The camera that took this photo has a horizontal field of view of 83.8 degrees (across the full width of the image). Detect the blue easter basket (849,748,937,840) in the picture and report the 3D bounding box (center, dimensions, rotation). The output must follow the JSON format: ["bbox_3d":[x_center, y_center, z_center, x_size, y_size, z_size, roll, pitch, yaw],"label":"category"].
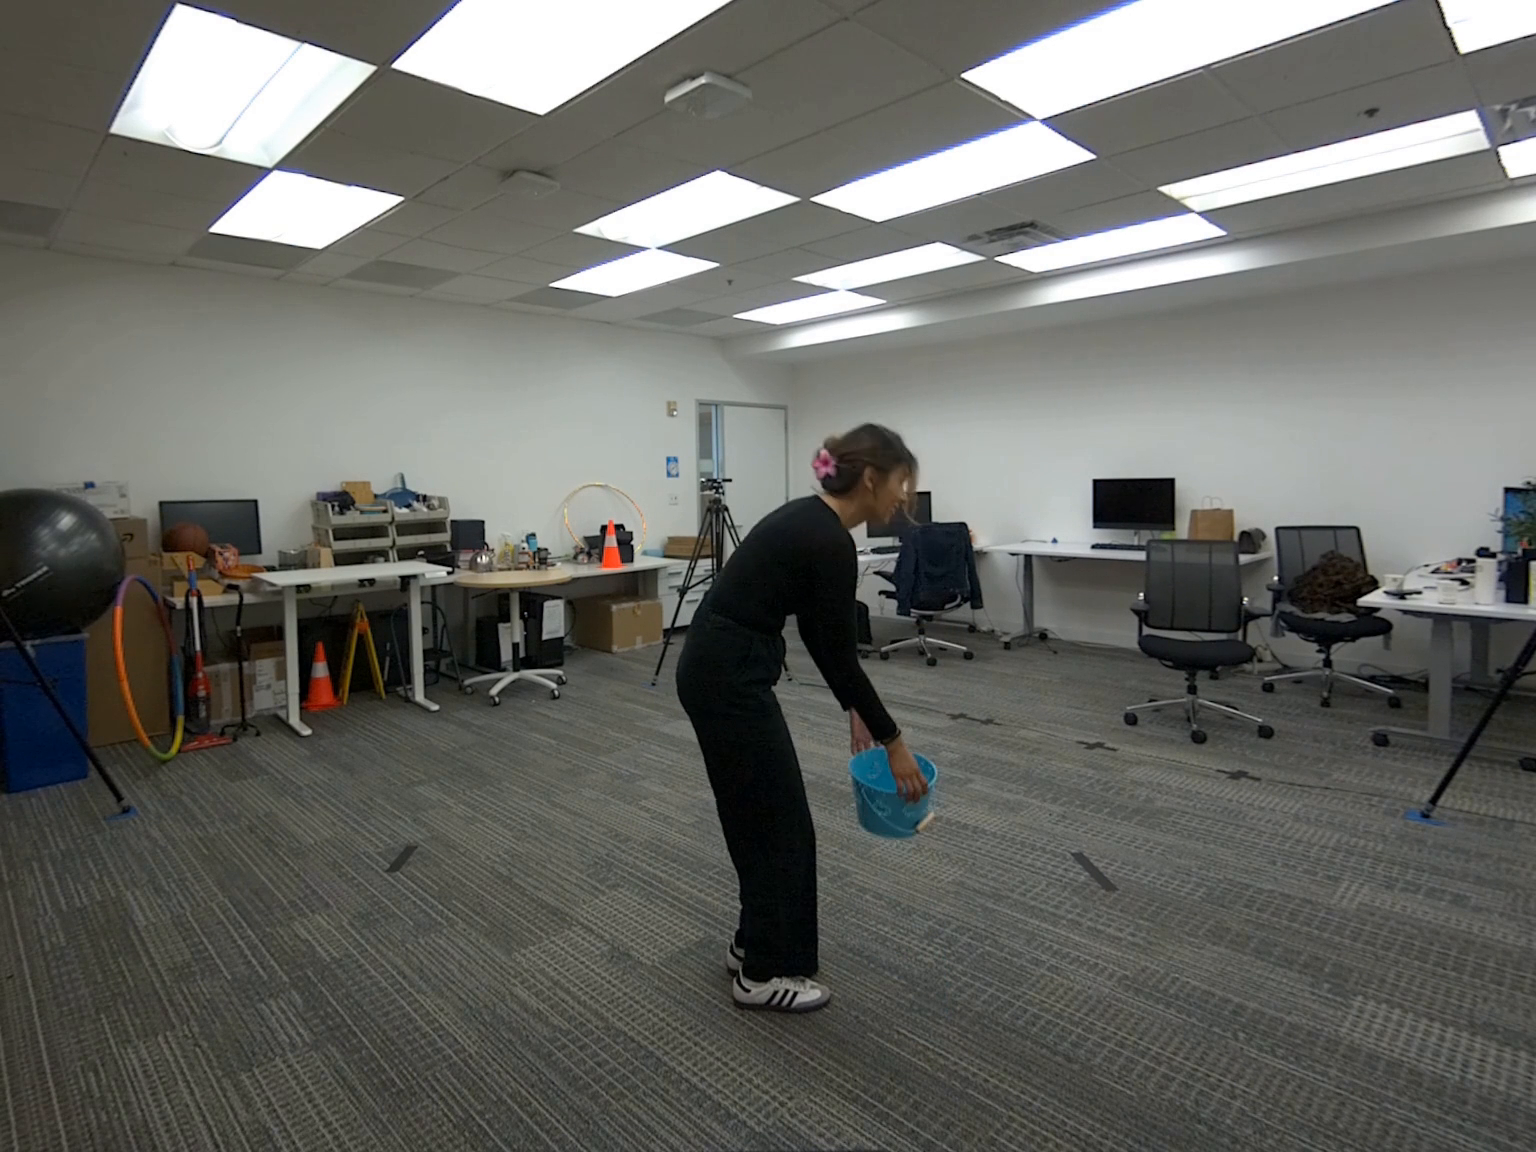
[{"bbox_3d":[0.339,0.586,2.285,0.243,0.154,0.247,-2,15,-1],"label":"blue easter basket"}]
